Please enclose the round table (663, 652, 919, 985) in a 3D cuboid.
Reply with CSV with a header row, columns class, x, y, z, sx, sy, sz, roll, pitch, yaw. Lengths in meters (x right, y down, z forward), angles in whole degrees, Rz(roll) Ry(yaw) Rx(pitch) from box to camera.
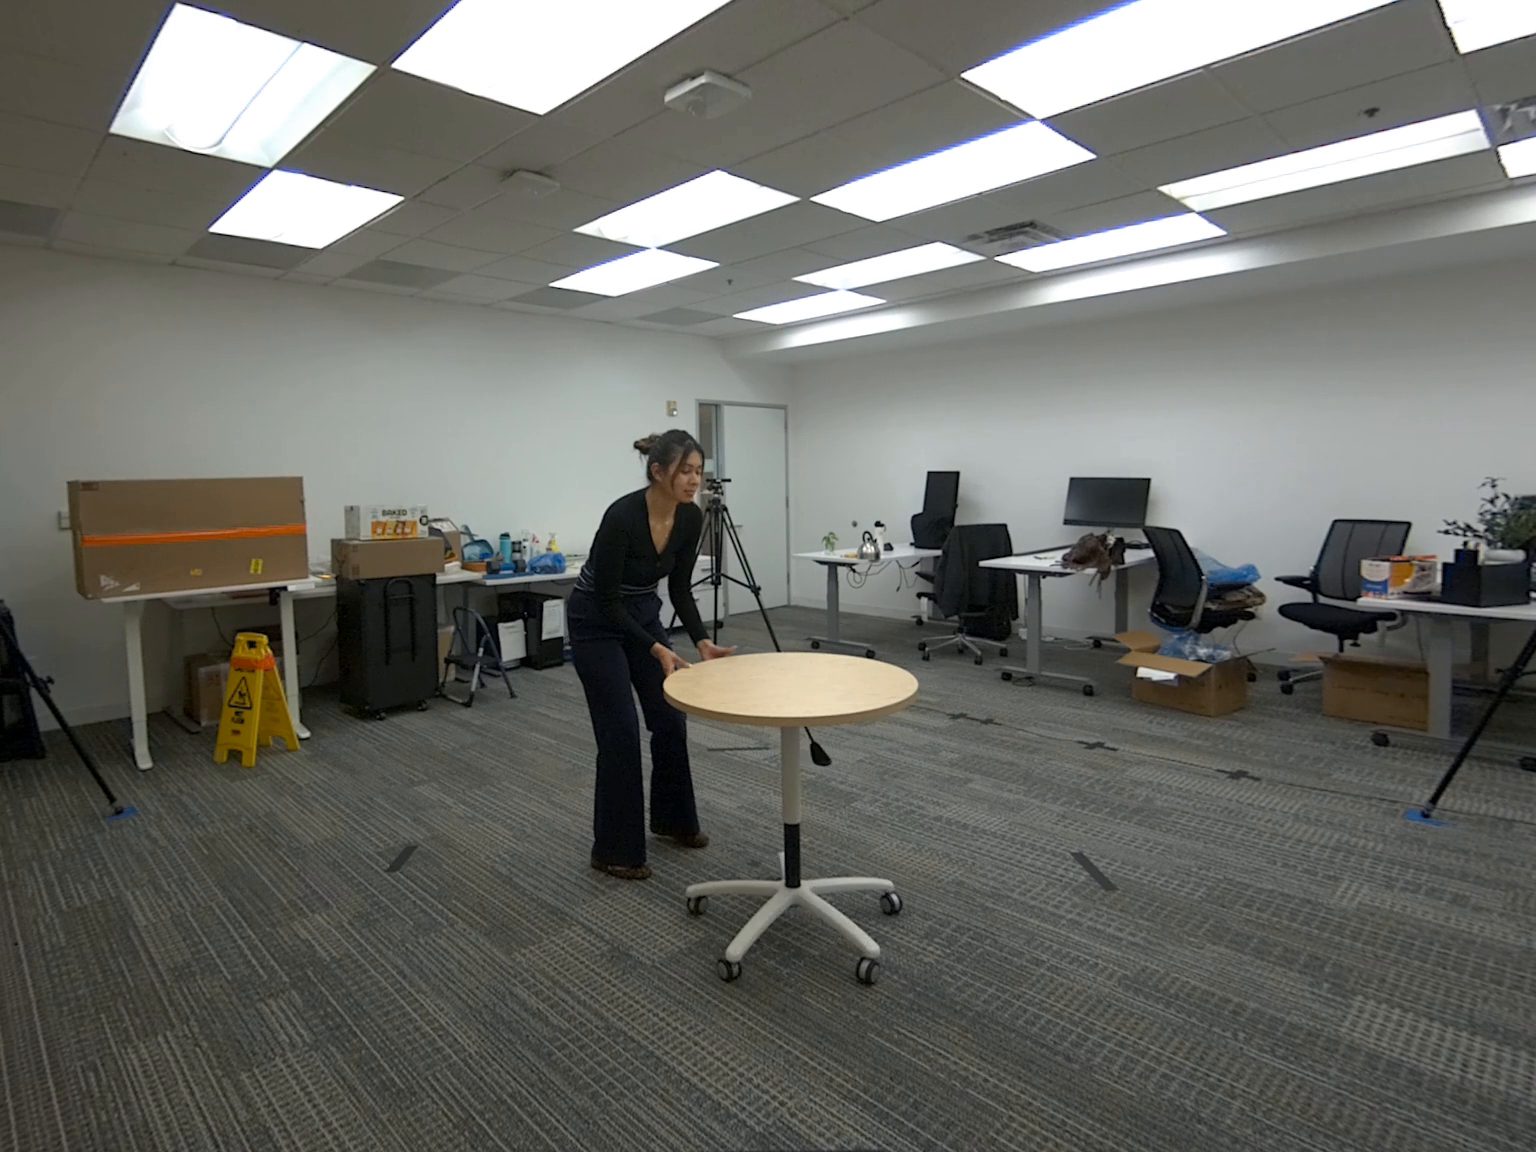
class,x,y,z,sx,sy,sz,roll,pitch,yaw
round table,0.078,0.709,2.616,0.763,0.790,0.768,-2,6,-2
